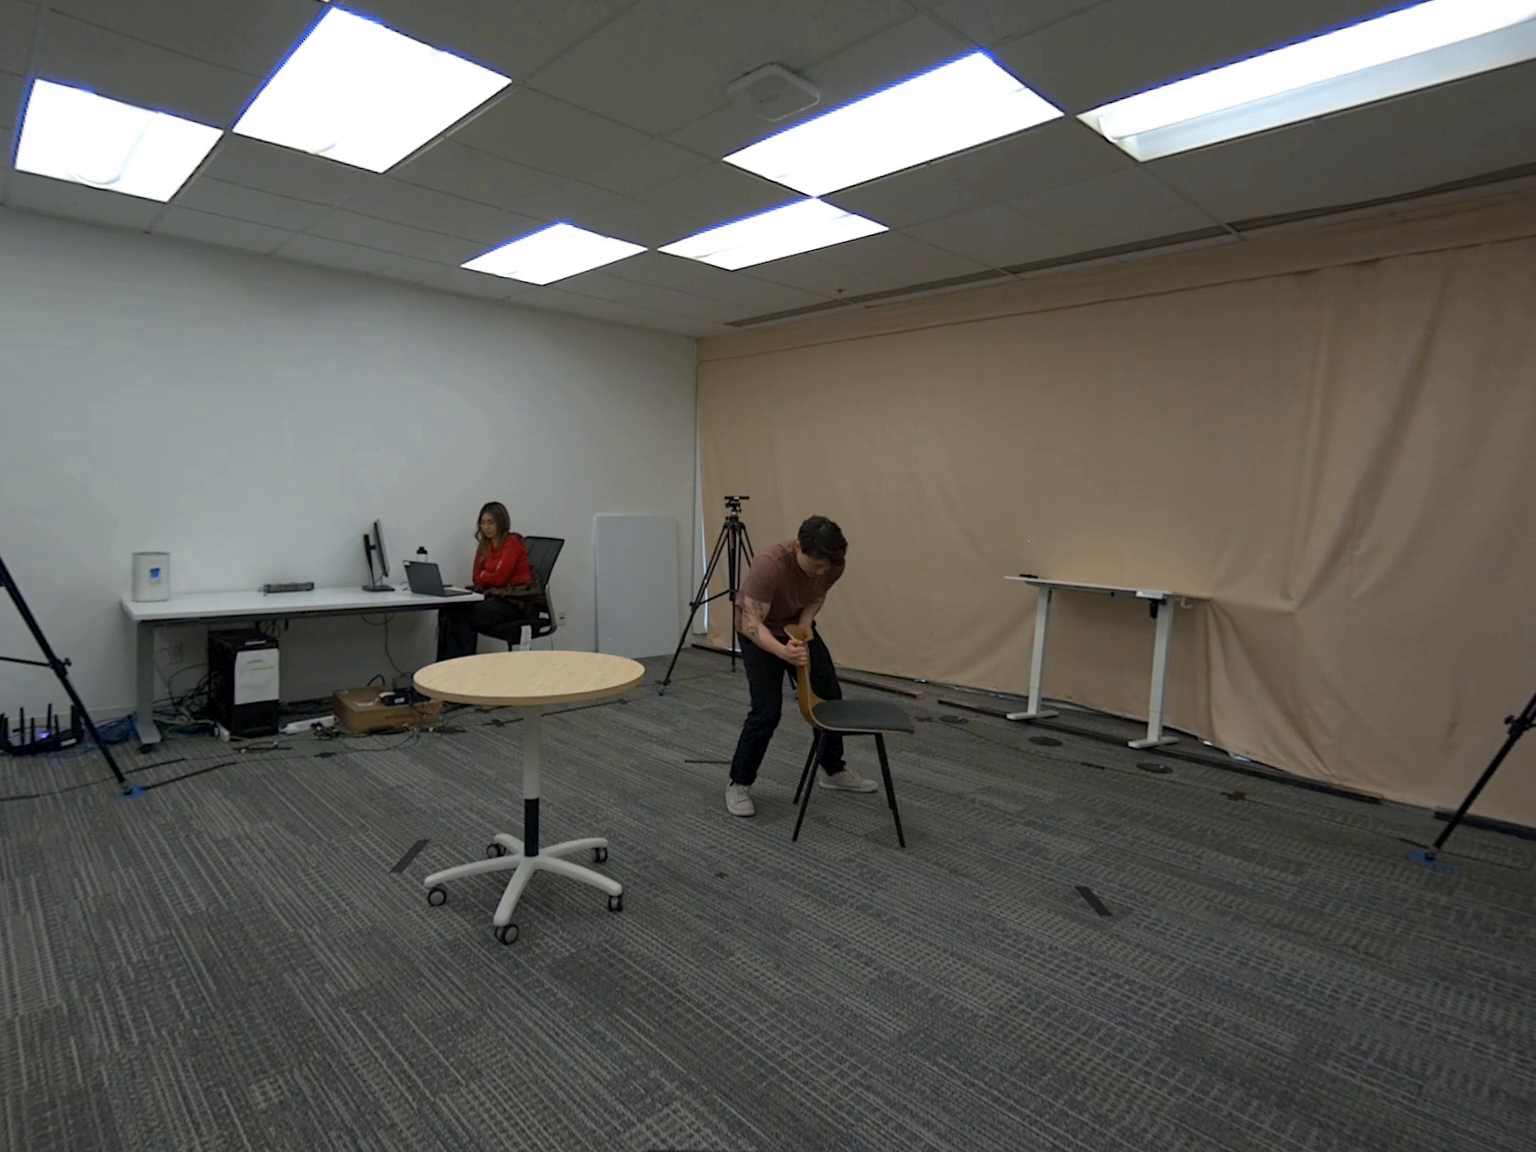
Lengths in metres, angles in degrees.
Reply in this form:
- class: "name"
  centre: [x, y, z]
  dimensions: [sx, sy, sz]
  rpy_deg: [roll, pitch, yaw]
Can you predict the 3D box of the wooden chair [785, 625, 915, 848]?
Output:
- class: "wooden chair"
  centre: [0.347, 0.646, 3.596]
  dimensions: [0.525, 0.876, 0.477]
  rpy_deg: [-3, 2, 4]
